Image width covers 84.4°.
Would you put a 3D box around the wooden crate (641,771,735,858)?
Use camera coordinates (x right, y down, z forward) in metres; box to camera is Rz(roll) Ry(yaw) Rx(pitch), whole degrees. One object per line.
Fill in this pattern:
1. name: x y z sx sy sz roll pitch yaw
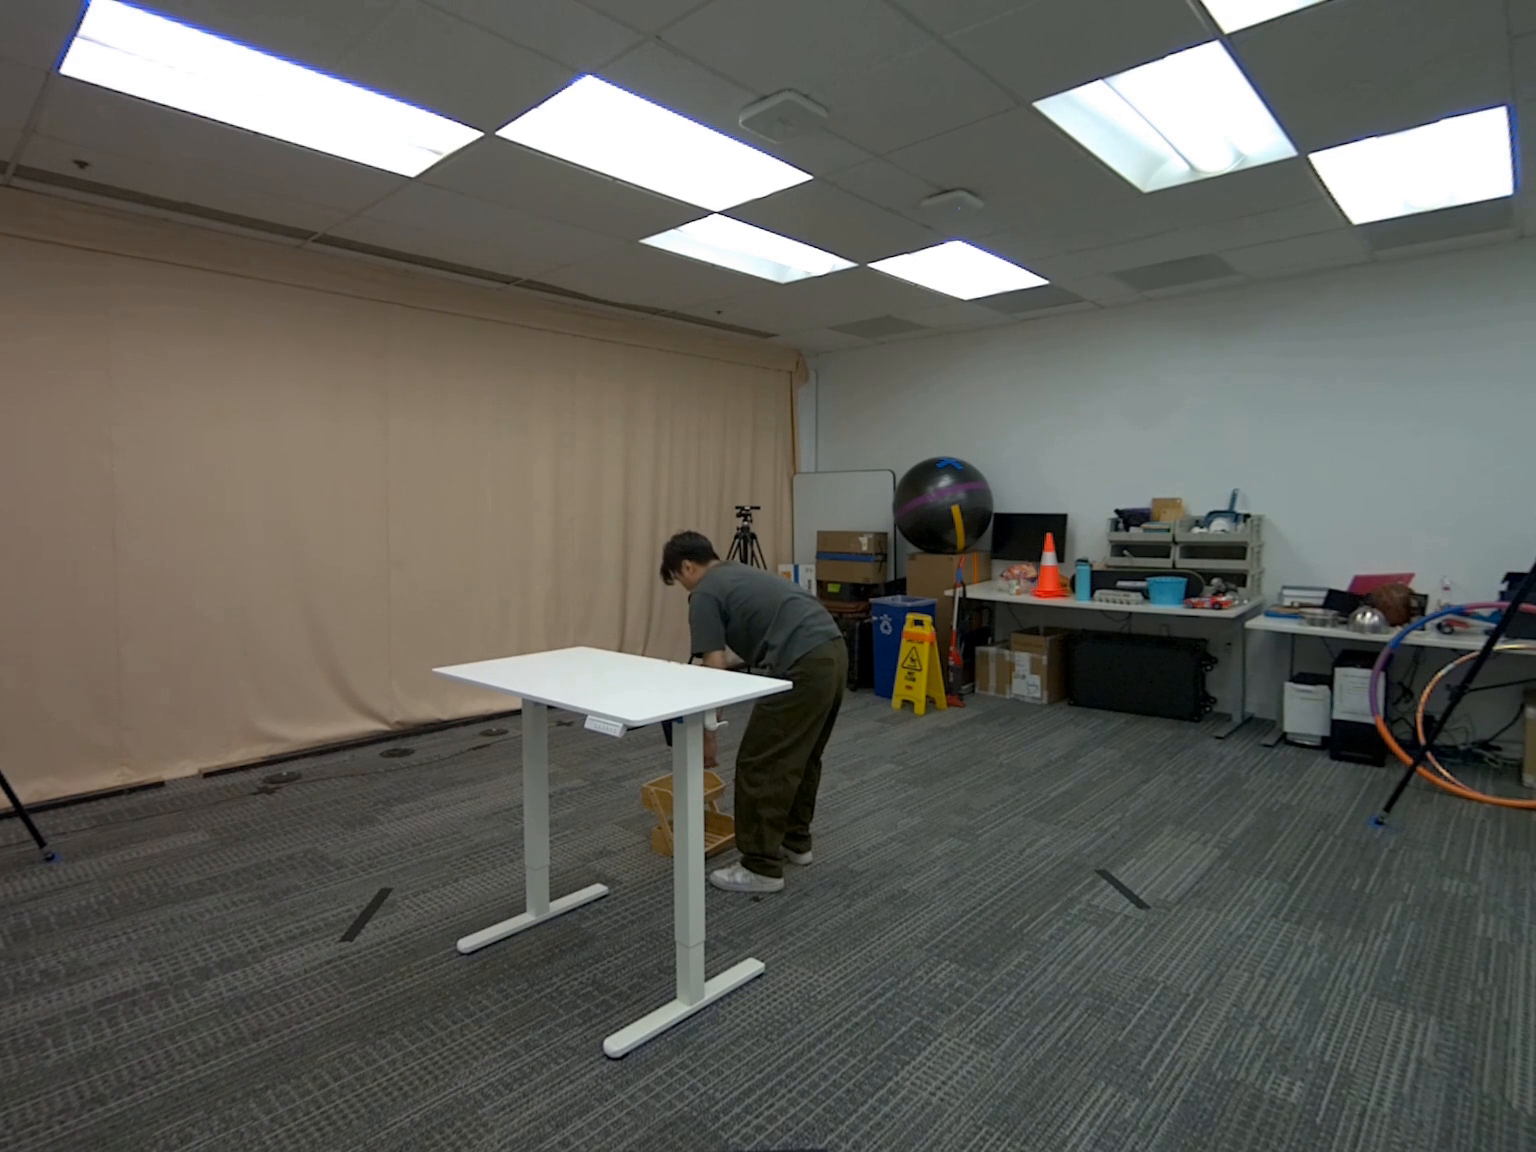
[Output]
1. wooden crate: -0.302 0.970 3.463 0.311 0.273 0.315 1 4 35
